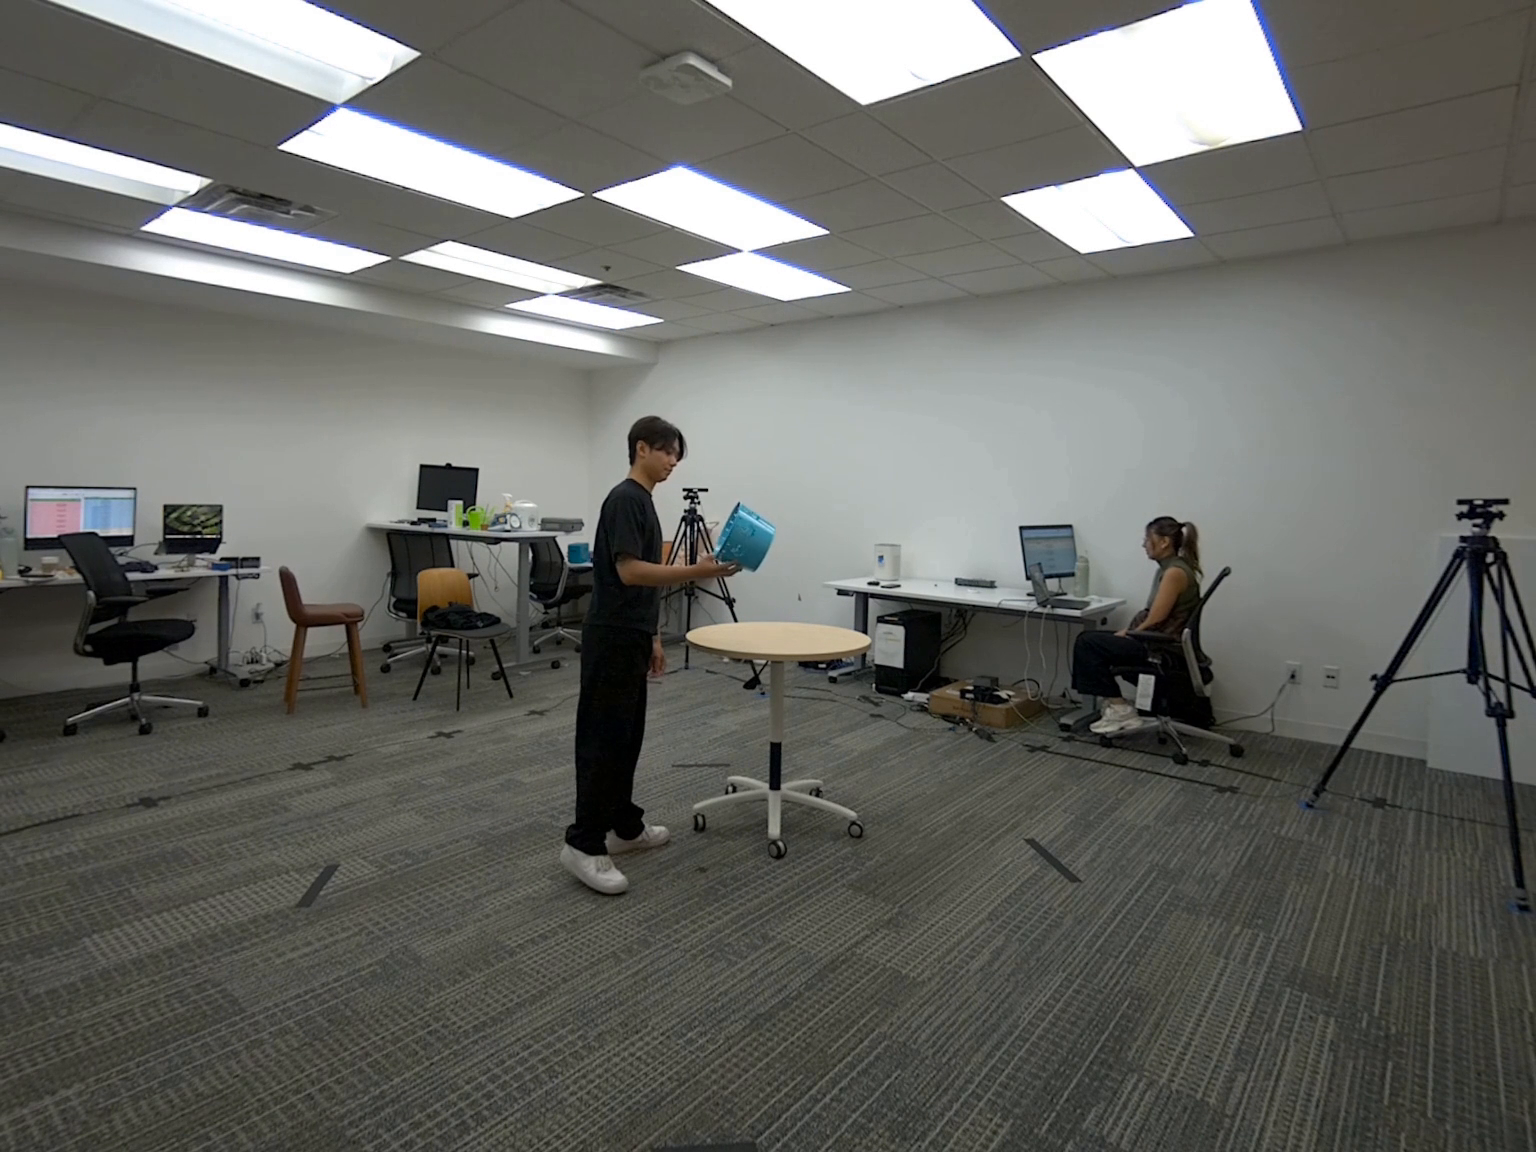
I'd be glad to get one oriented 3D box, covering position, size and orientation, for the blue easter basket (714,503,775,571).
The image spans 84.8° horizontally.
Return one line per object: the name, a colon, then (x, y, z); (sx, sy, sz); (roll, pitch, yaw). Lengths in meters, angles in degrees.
blue easter basket: (-0.088, -0.127, 2.998); (0.154, 0.243, 0.246); (26, 1, -9)
